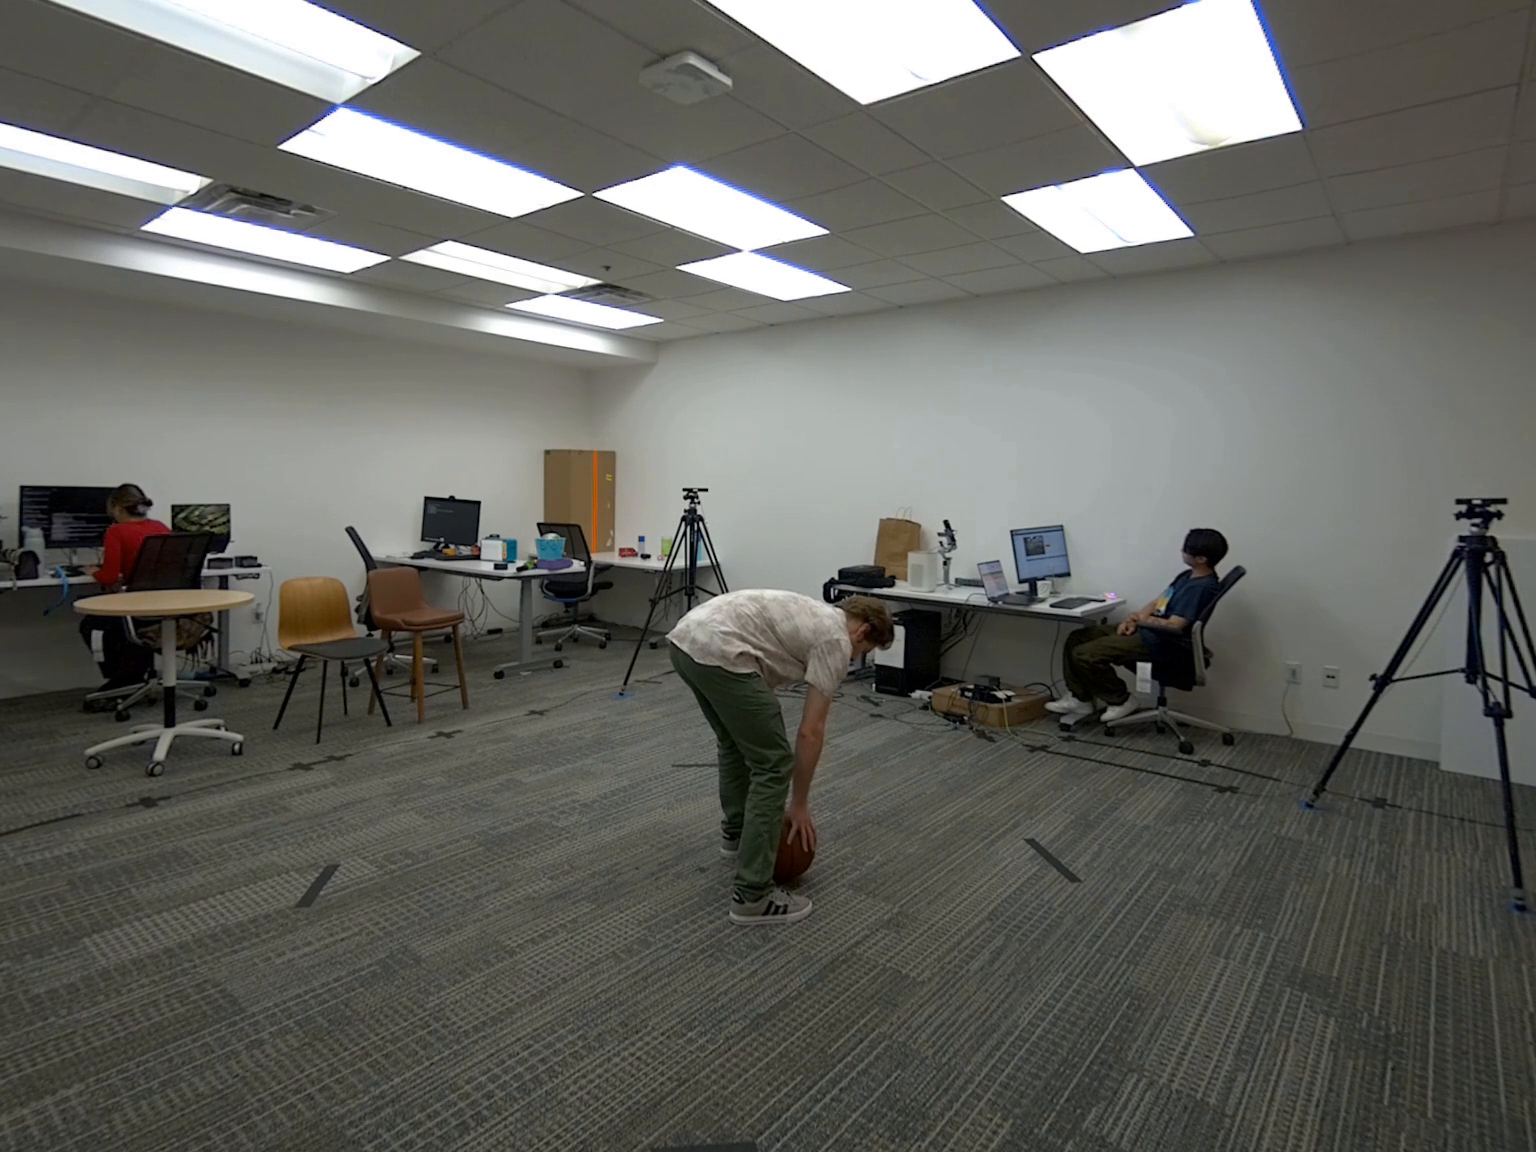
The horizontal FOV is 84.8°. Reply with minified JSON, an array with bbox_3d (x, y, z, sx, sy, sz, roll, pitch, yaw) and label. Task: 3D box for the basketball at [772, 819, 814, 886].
[{"bbox_3d":[0.045,0.953,3.049,0.235,0.235,0.237,1,4,-2],"label":"basketball"}]
